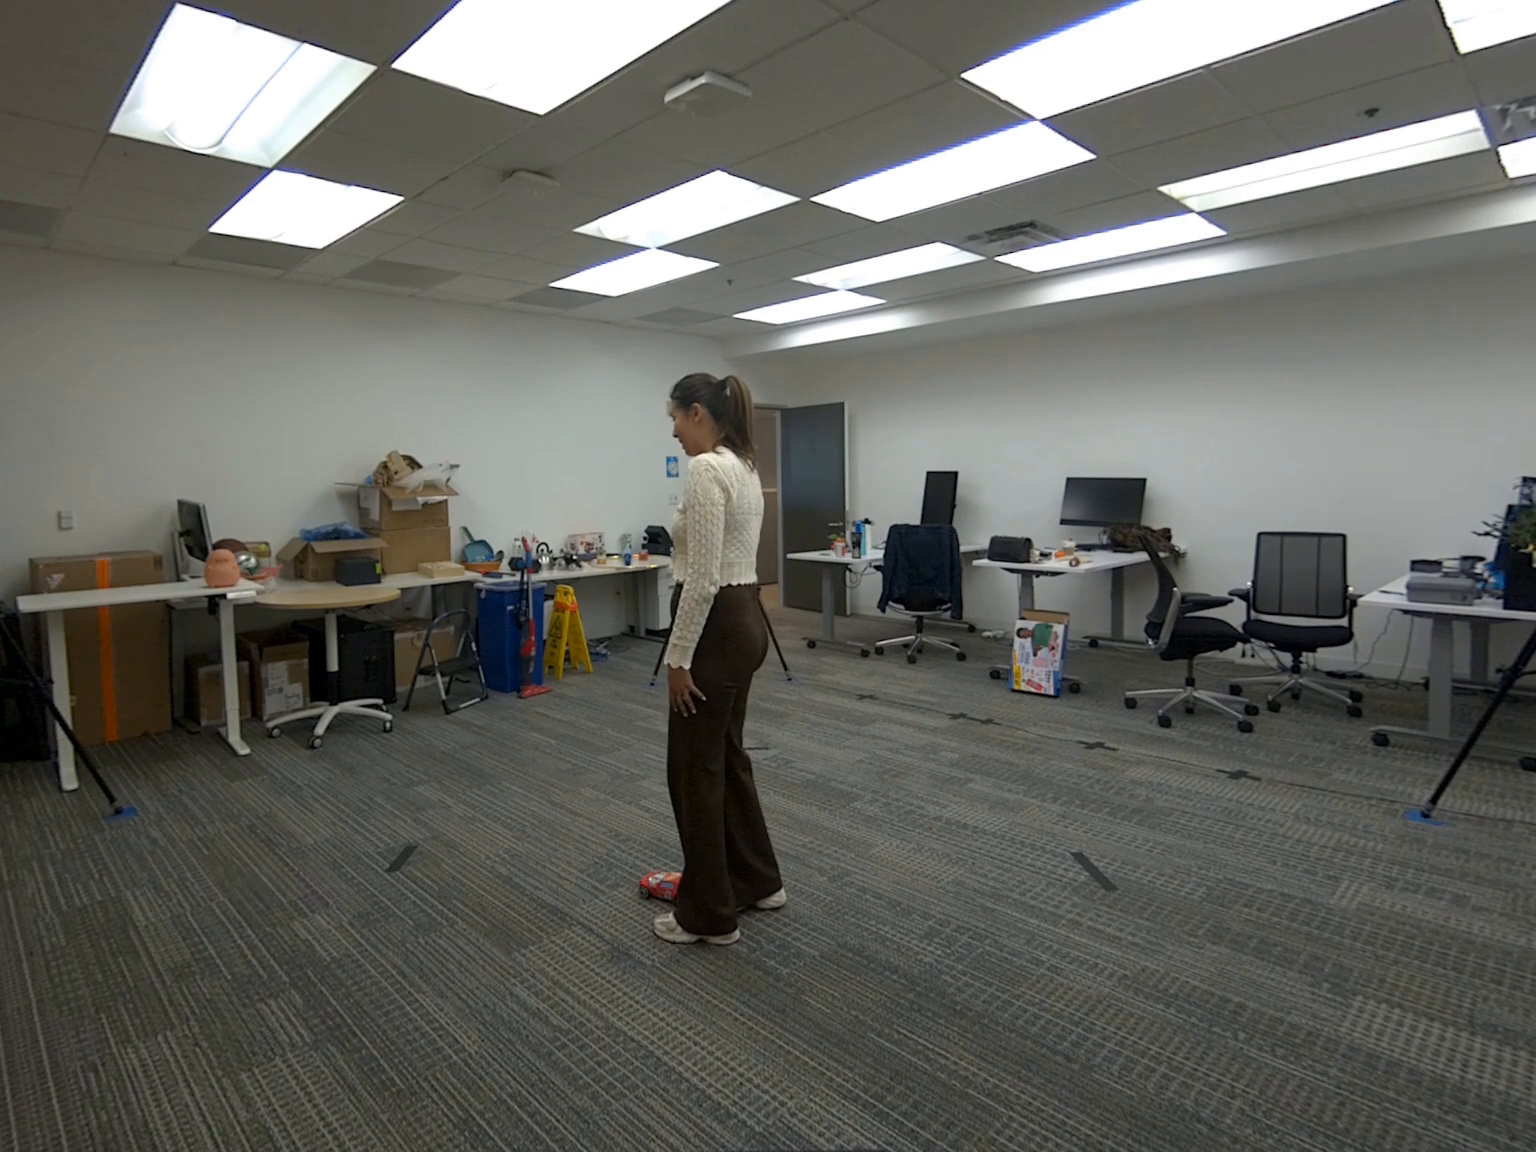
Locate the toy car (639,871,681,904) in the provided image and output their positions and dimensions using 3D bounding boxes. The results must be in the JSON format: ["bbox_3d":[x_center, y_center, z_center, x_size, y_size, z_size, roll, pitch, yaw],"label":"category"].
[{"bbox_3d":[-0.306,1.051,2.856,0.260,0.083,0.127,-9,0,30],"label":"toy car"}]
